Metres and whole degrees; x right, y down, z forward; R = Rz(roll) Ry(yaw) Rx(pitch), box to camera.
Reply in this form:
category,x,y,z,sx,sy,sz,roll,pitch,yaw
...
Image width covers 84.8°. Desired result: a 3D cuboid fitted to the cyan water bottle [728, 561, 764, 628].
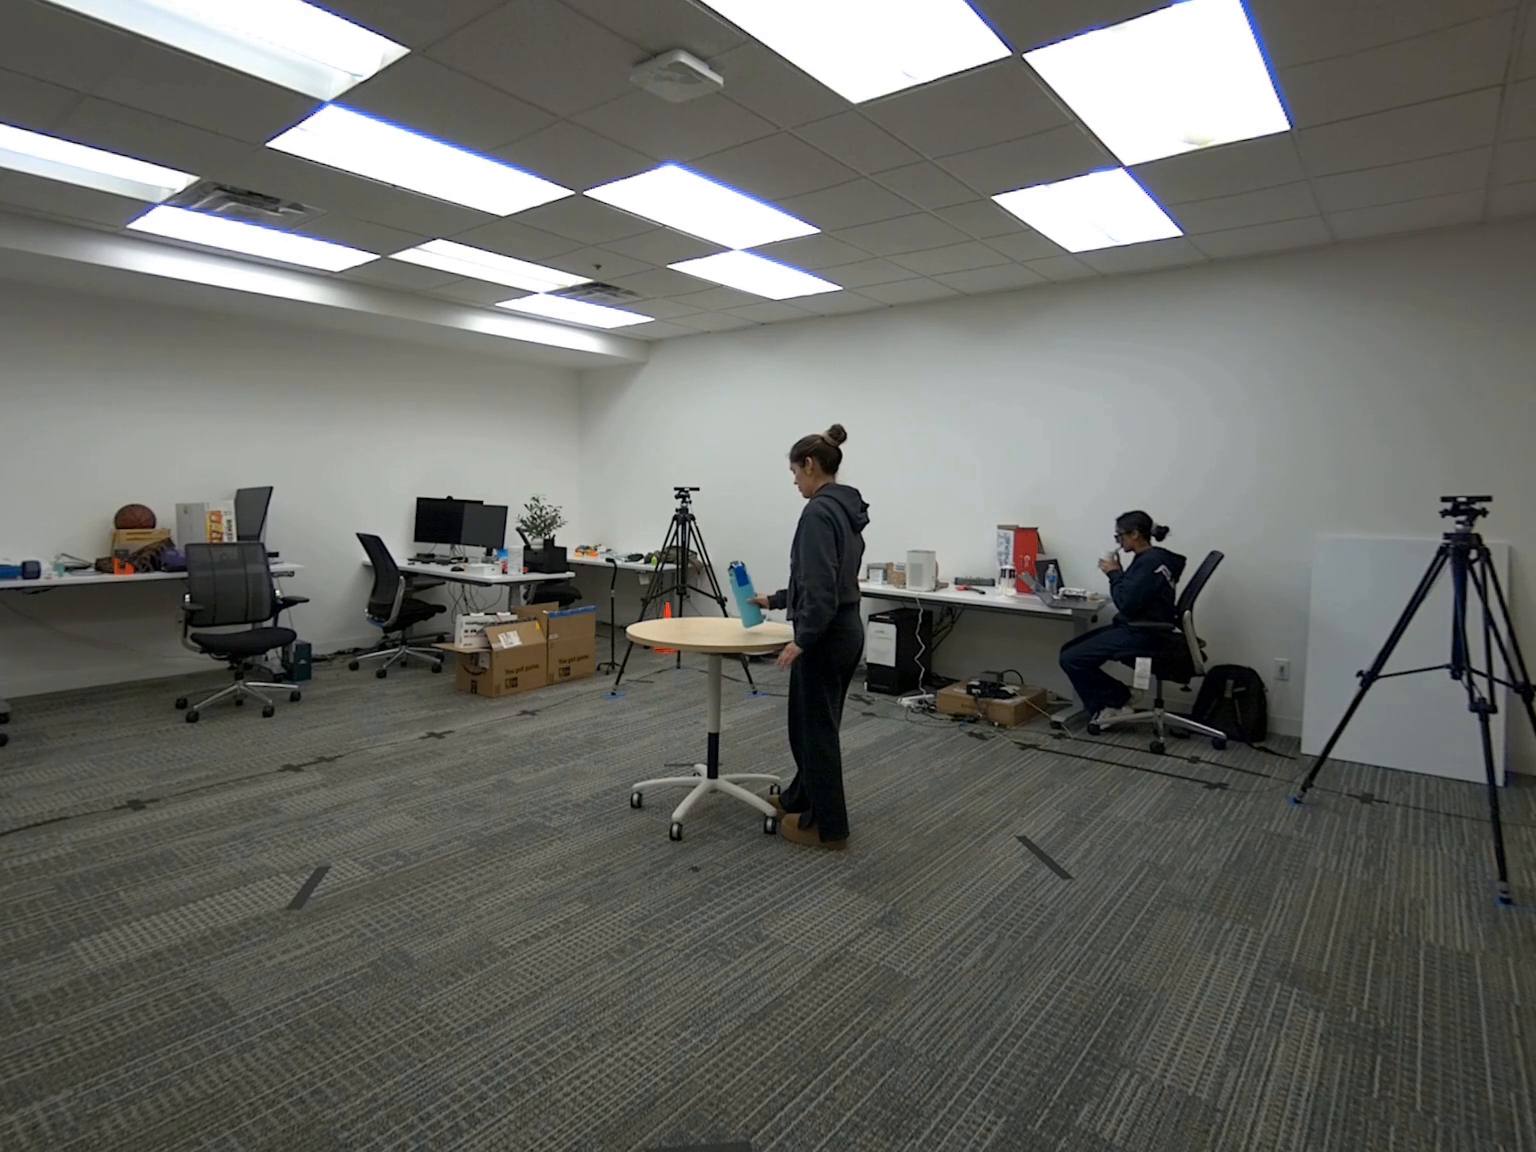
category,x,y,z,sx,sy,sz,roll,pitch,yaw
cyan water bottle,-0.092,0.079,3.606,0.092,0.284,0.092,-16,-1,-2
